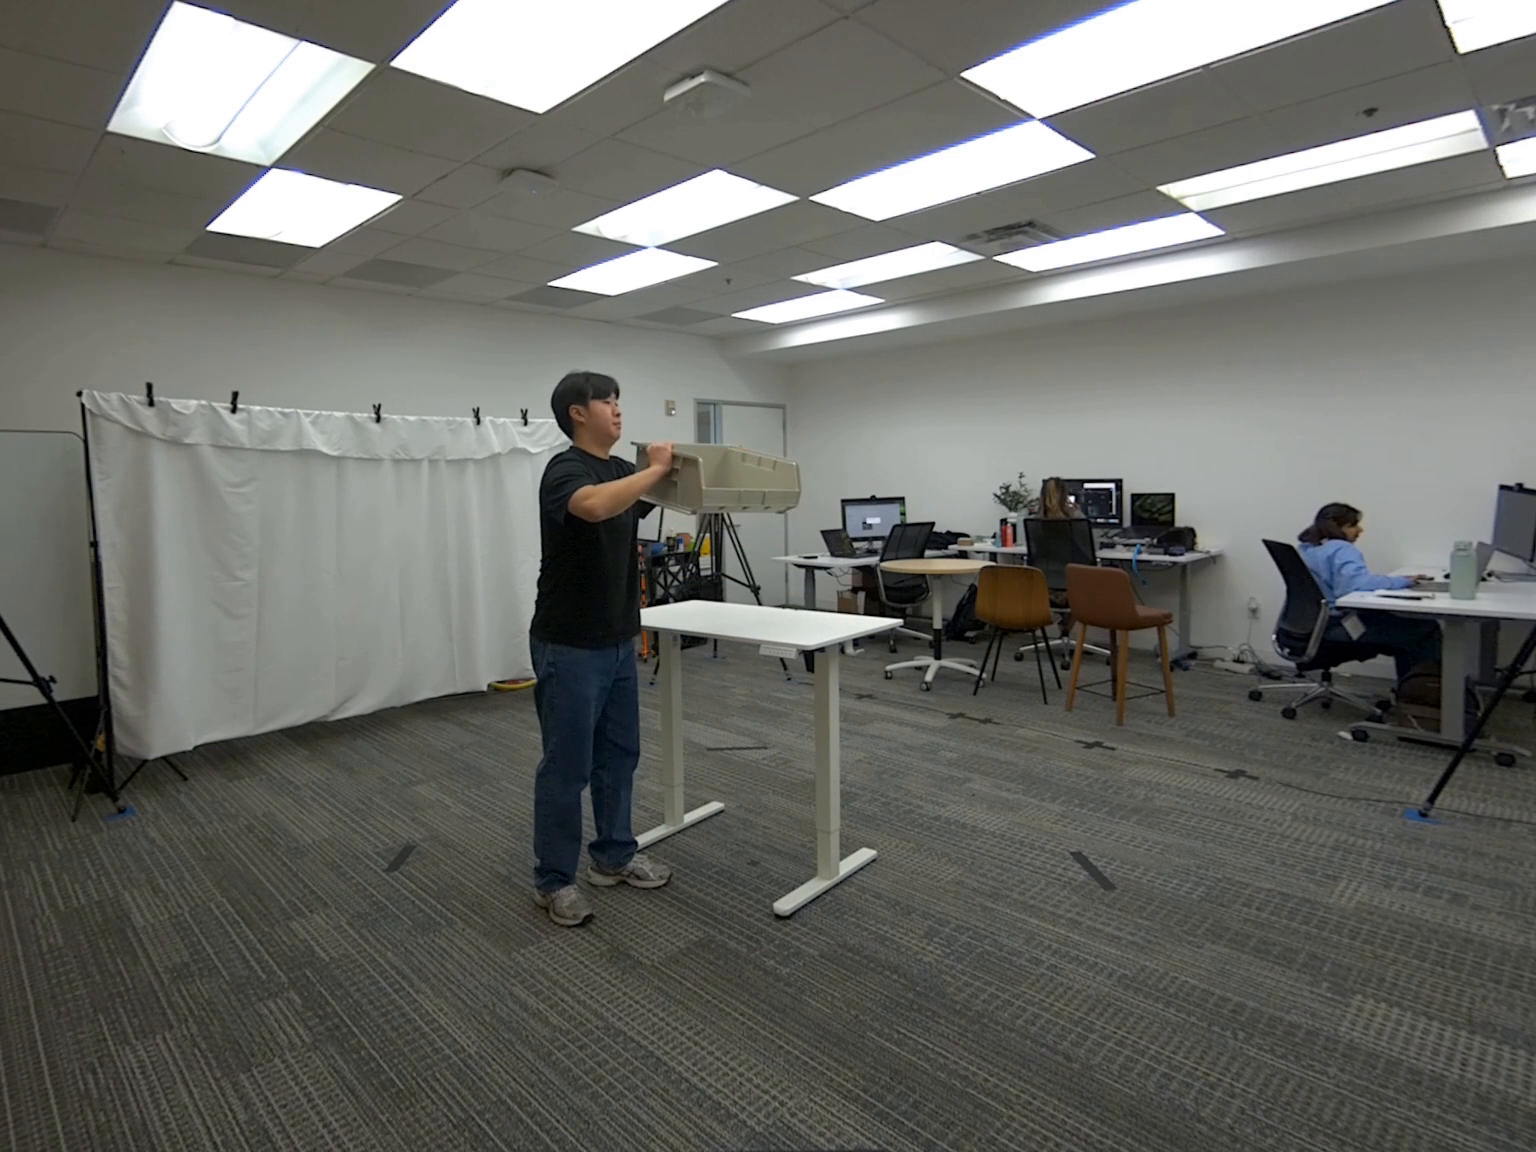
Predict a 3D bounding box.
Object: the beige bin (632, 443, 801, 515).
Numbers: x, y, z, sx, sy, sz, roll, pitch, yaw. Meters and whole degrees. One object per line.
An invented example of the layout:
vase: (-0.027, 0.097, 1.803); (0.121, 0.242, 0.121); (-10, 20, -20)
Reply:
beige bin: (-0.165, -0.310, 2.748); (0.411, 0.187, 0.391); (-4, 17, -42)
